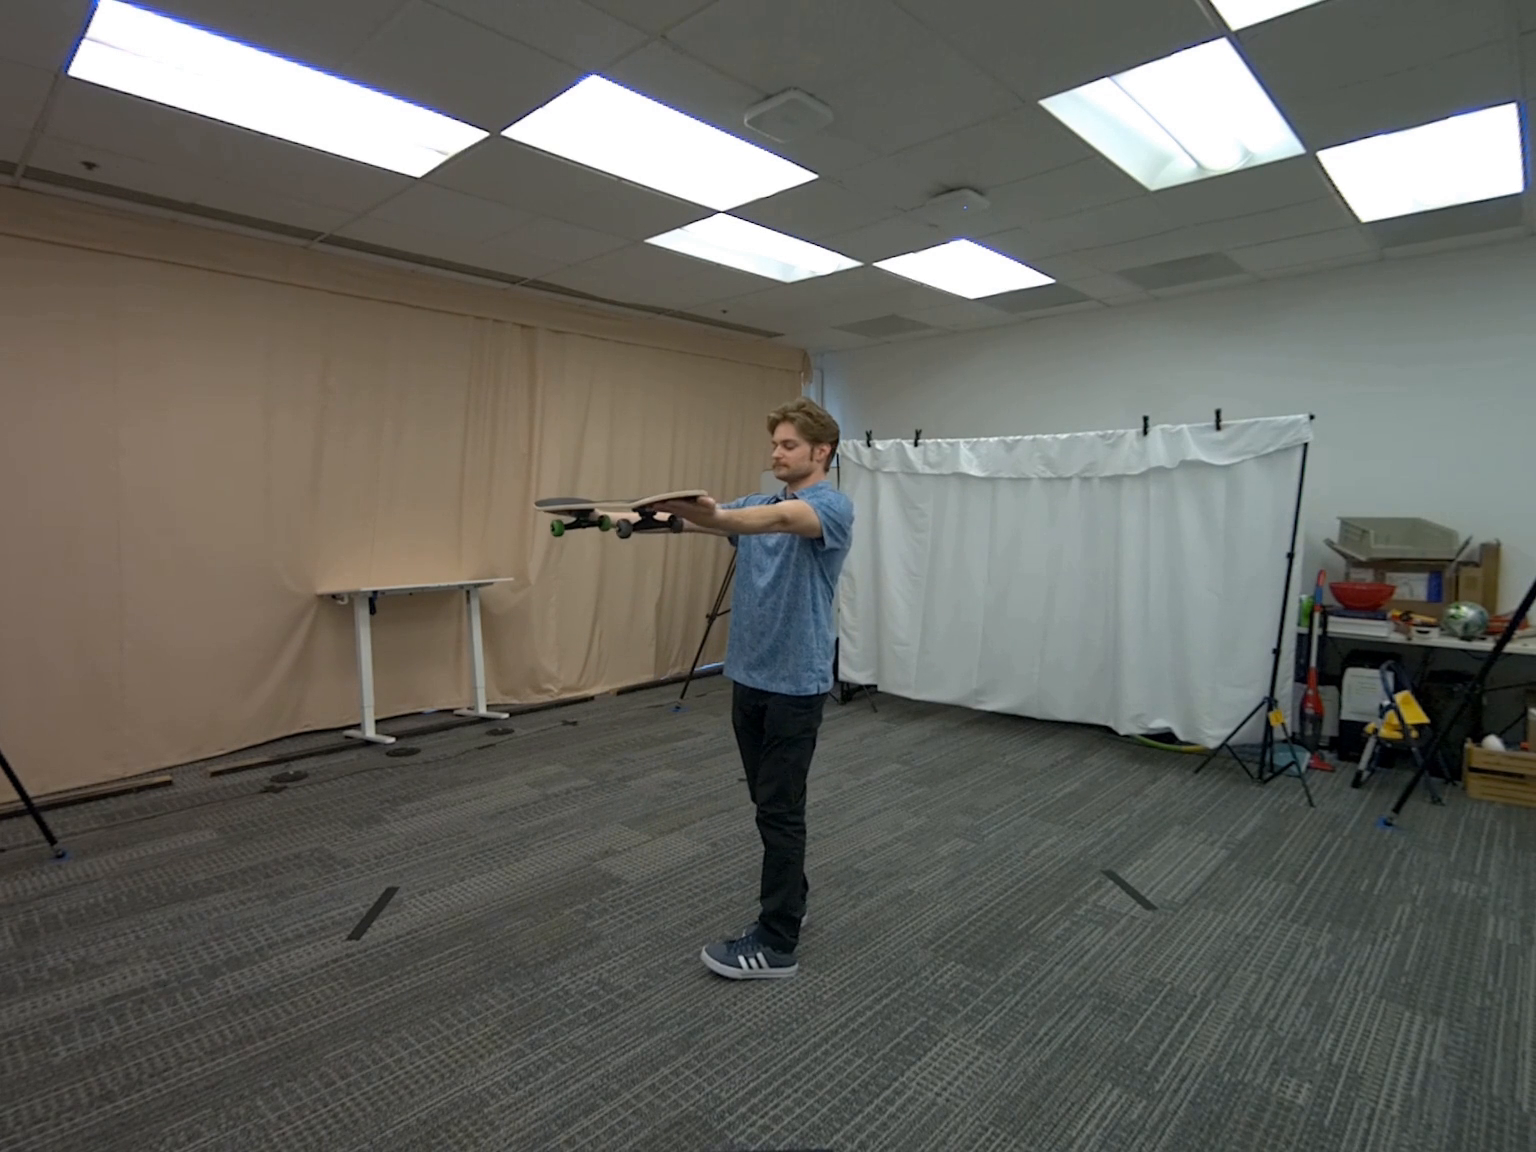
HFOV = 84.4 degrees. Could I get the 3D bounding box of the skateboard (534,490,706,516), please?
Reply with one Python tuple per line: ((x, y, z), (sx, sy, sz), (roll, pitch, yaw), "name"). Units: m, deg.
((-0.417, -0.162, 2.310), (0.188, 0.110, 0.810), (-5, 6, -36), "skateboard")
